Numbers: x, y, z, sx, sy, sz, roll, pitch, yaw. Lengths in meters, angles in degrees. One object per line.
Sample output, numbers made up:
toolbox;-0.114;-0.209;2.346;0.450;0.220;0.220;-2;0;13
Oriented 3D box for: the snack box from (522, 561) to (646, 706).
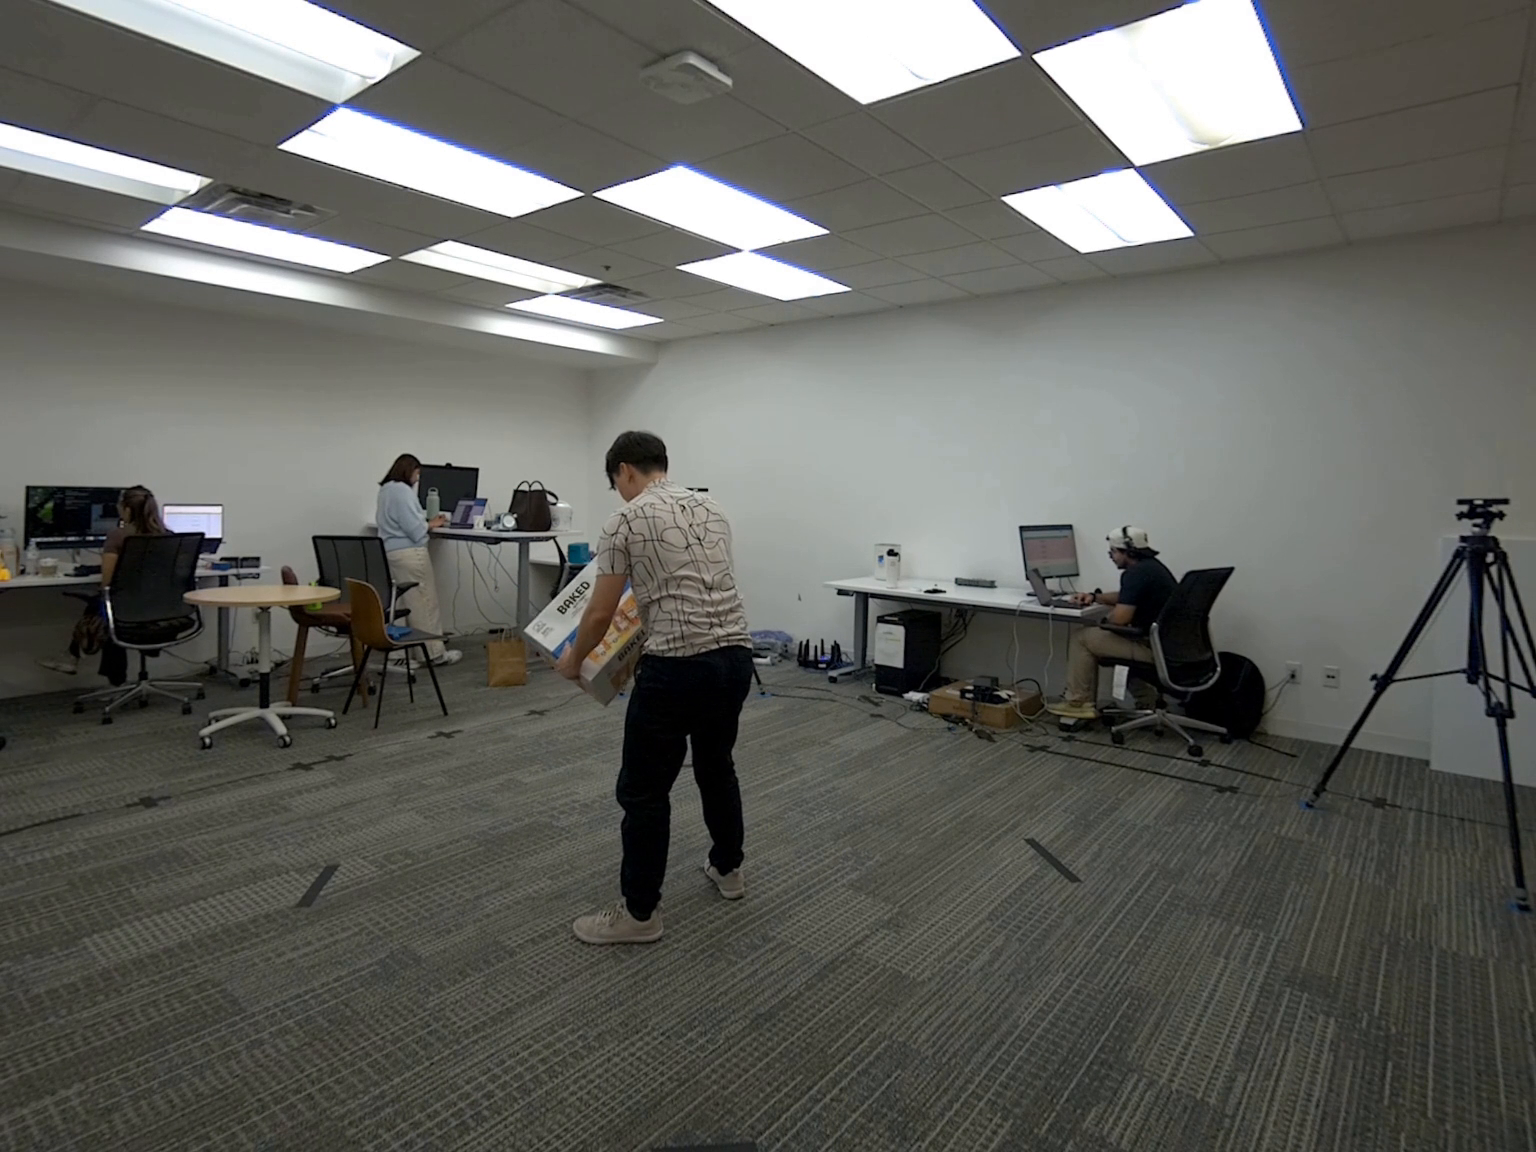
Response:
snack box;-0.596;0.182;3.021;0.352;0.405;0.198;29;-25;28
